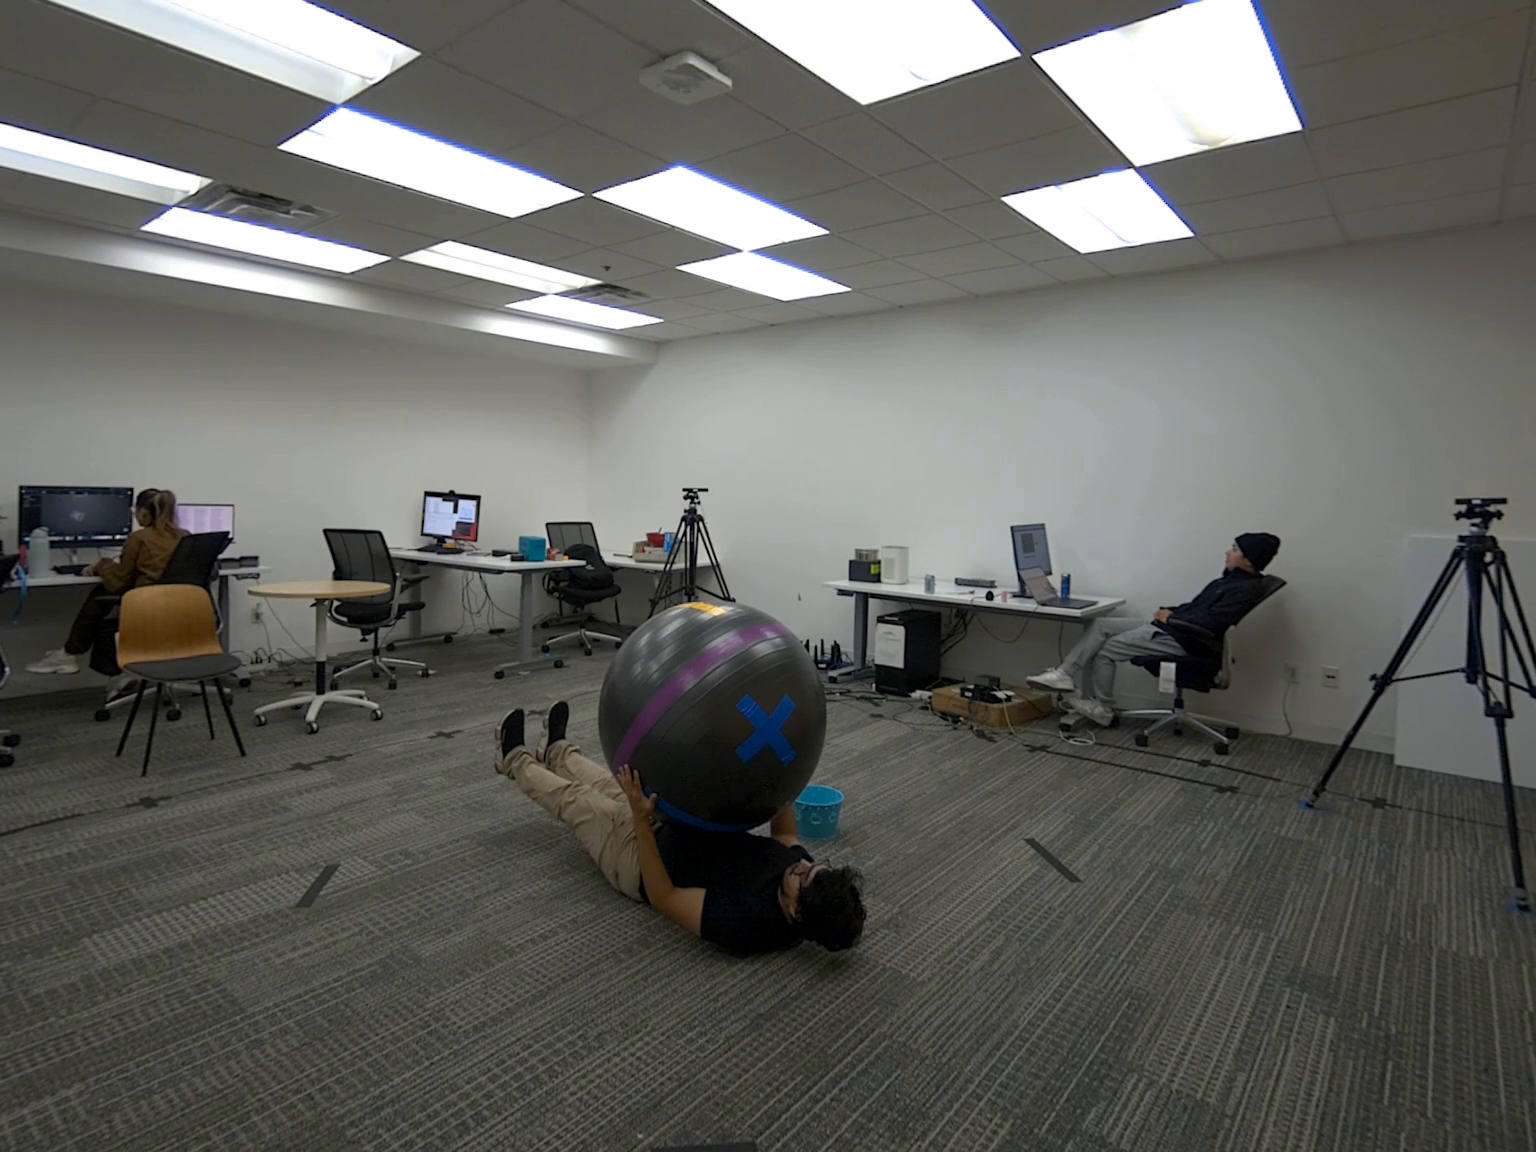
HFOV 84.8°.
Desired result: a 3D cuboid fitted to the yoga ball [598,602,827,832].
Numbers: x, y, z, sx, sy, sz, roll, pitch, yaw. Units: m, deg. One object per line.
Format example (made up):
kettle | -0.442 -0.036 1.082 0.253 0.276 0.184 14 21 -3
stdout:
yoga ball | -0.194 0.461 2.826 0.757 0.756 0.761 0 4 -2
